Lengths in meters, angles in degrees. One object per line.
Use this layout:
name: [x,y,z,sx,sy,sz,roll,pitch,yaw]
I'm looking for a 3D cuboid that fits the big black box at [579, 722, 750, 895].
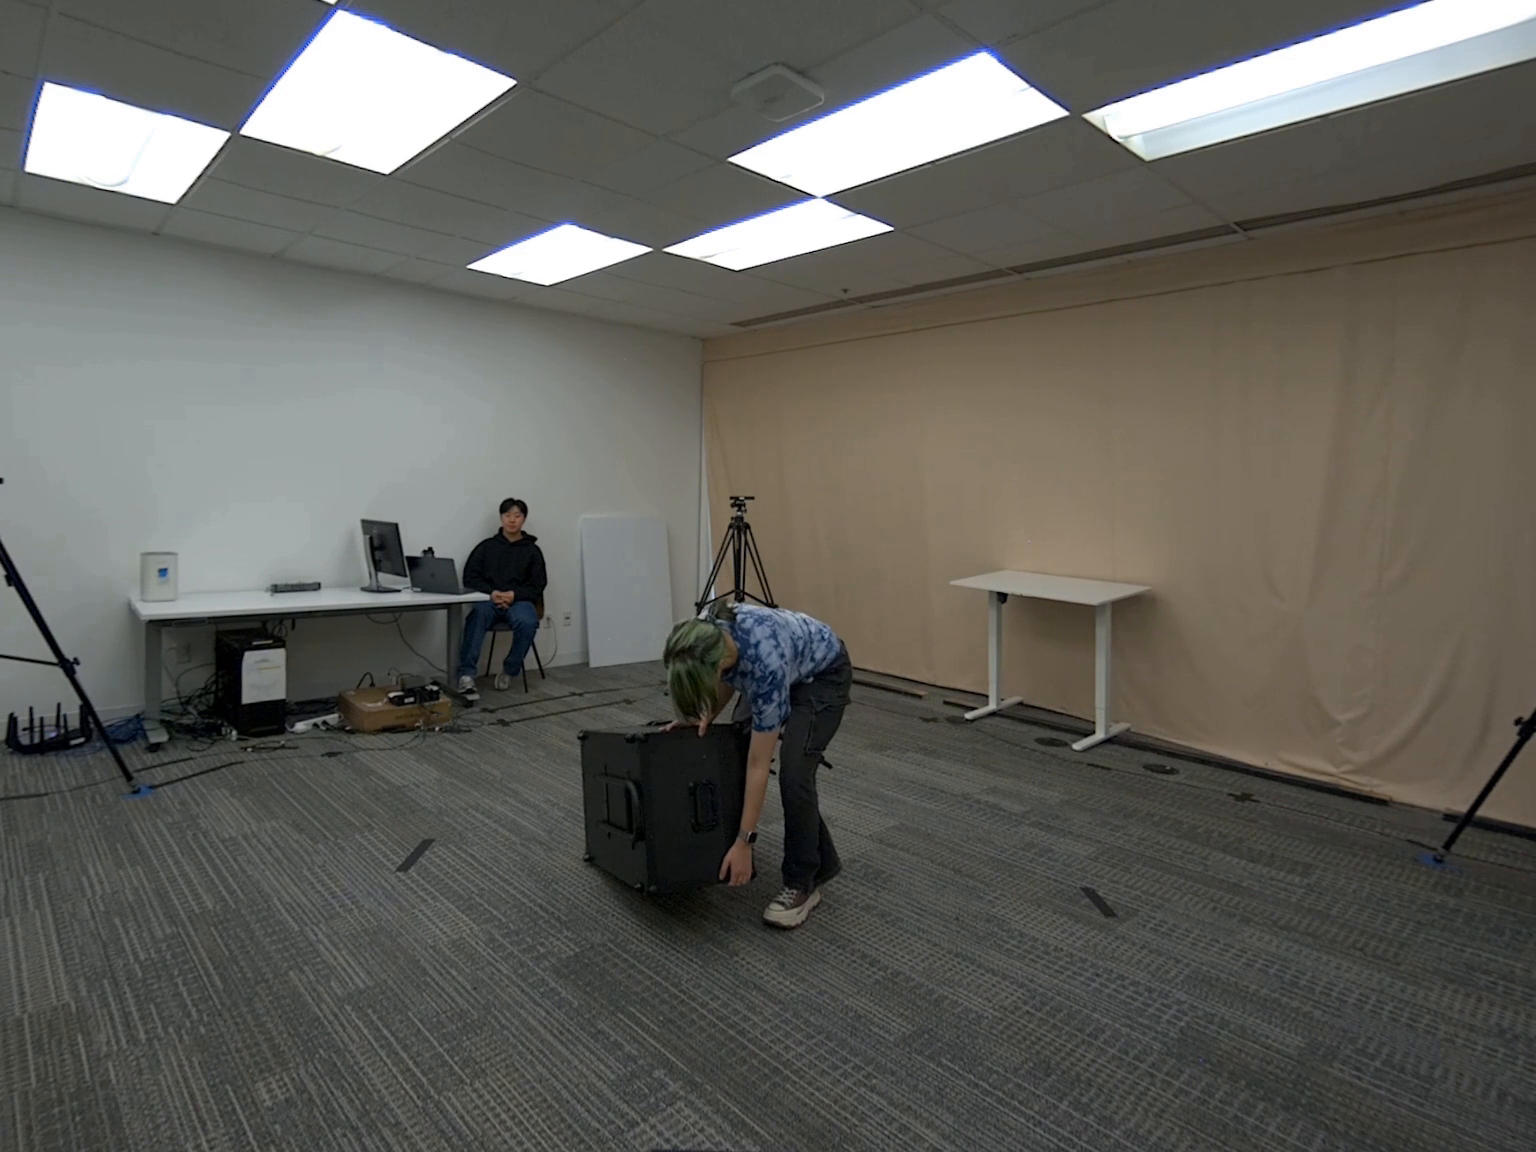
big black box: [-0.426,0.788,2.995,0.389,0.525,0.870,1,-10,-24]
